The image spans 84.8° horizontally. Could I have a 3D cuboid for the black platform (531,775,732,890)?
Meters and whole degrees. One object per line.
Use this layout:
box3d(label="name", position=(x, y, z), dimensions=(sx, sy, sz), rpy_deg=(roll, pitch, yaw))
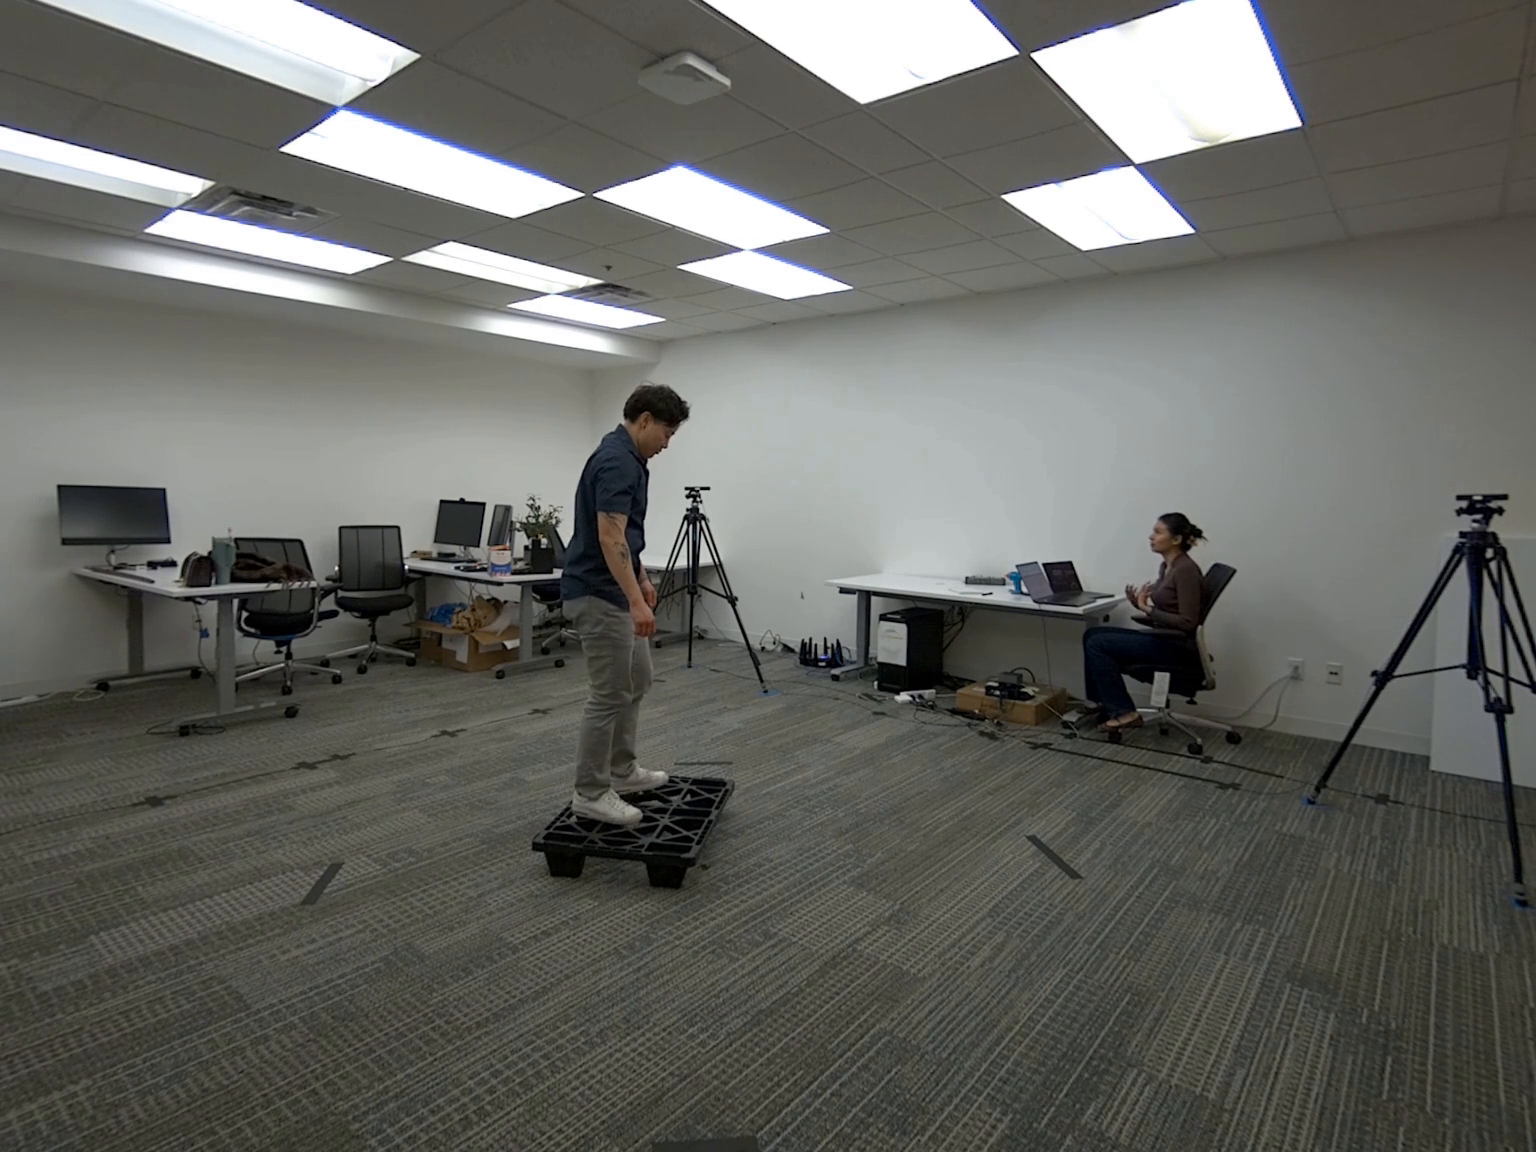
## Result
box3d(label="black platform", position=(-0.504, 0.971, 3.333), dimensions=(0.612, 0.143, 0.800), rpy_deg=(1, 6, 9))
